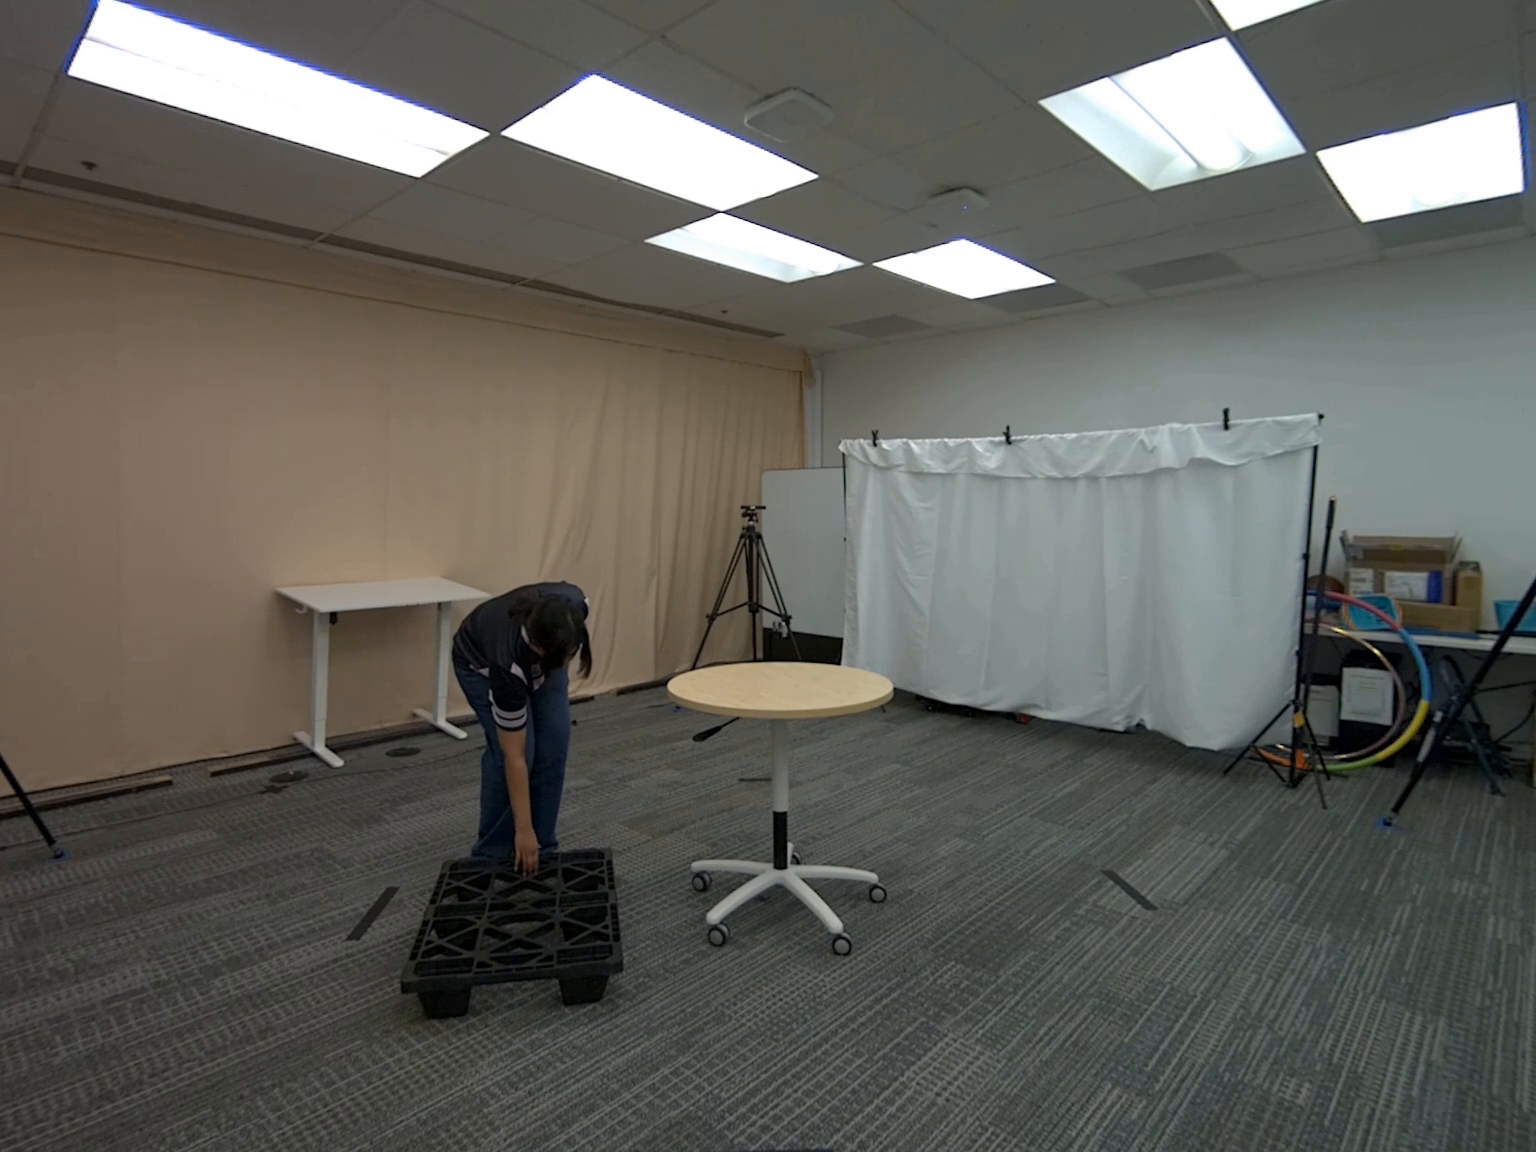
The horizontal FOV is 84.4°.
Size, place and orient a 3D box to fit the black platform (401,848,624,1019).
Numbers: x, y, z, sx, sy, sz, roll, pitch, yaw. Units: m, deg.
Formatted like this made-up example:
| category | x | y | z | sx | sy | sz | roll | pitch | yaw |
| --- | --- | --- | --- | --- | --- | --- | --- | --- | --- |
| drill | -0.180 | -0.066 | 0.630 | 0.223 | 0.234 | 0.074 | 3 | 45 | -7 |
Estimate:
| category | x | y | z | sx | sy | sz | roll | pitch | yaw |
| --- | --- | --- | --- | --- | --- | --- | --- | --- | --- |
| black platform | -0.777 | 1.108 | 2.681 | 0.598 | 0.143 | 0.817 | -1 | 5 | -12 |
